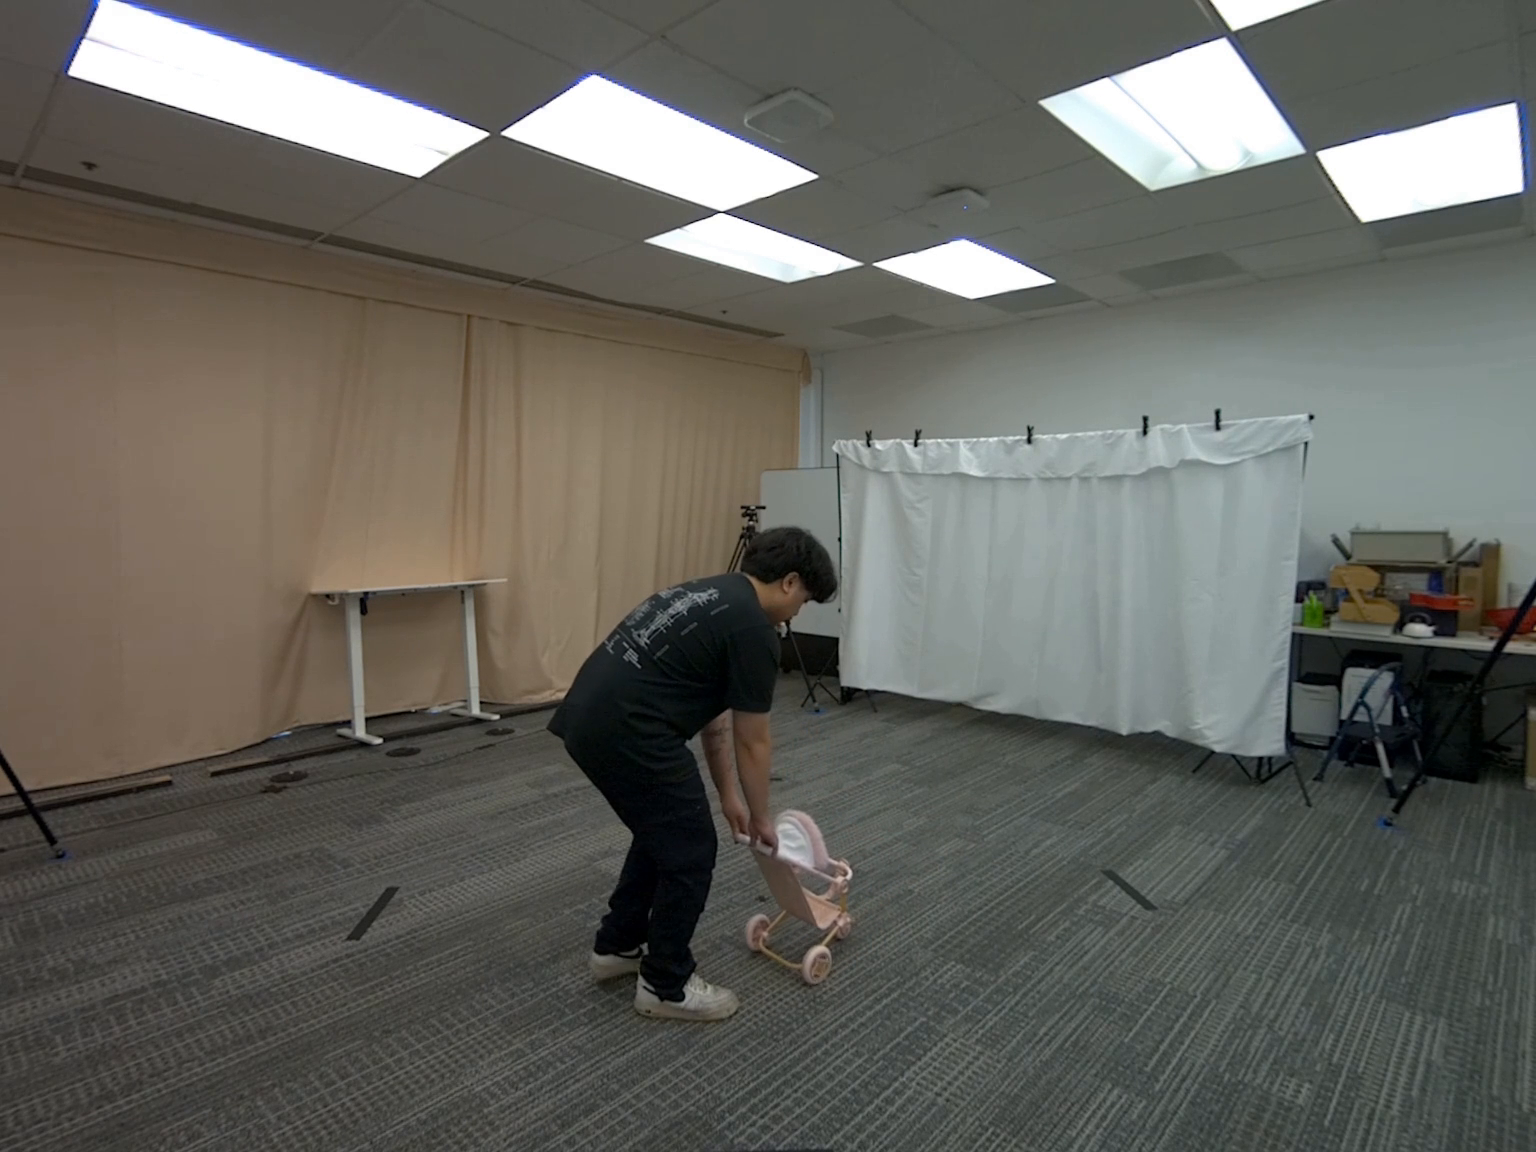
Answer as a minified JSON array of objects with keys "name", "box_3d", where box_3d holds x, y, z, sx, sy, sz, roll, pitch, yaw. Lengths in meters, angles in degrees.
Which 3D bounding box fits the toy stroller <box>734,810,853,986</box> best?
[{"name":"toy stroller","box_3d":[0.106,0.950,2.577,0.334,0.529,0.291,-22,16,-36]}]
